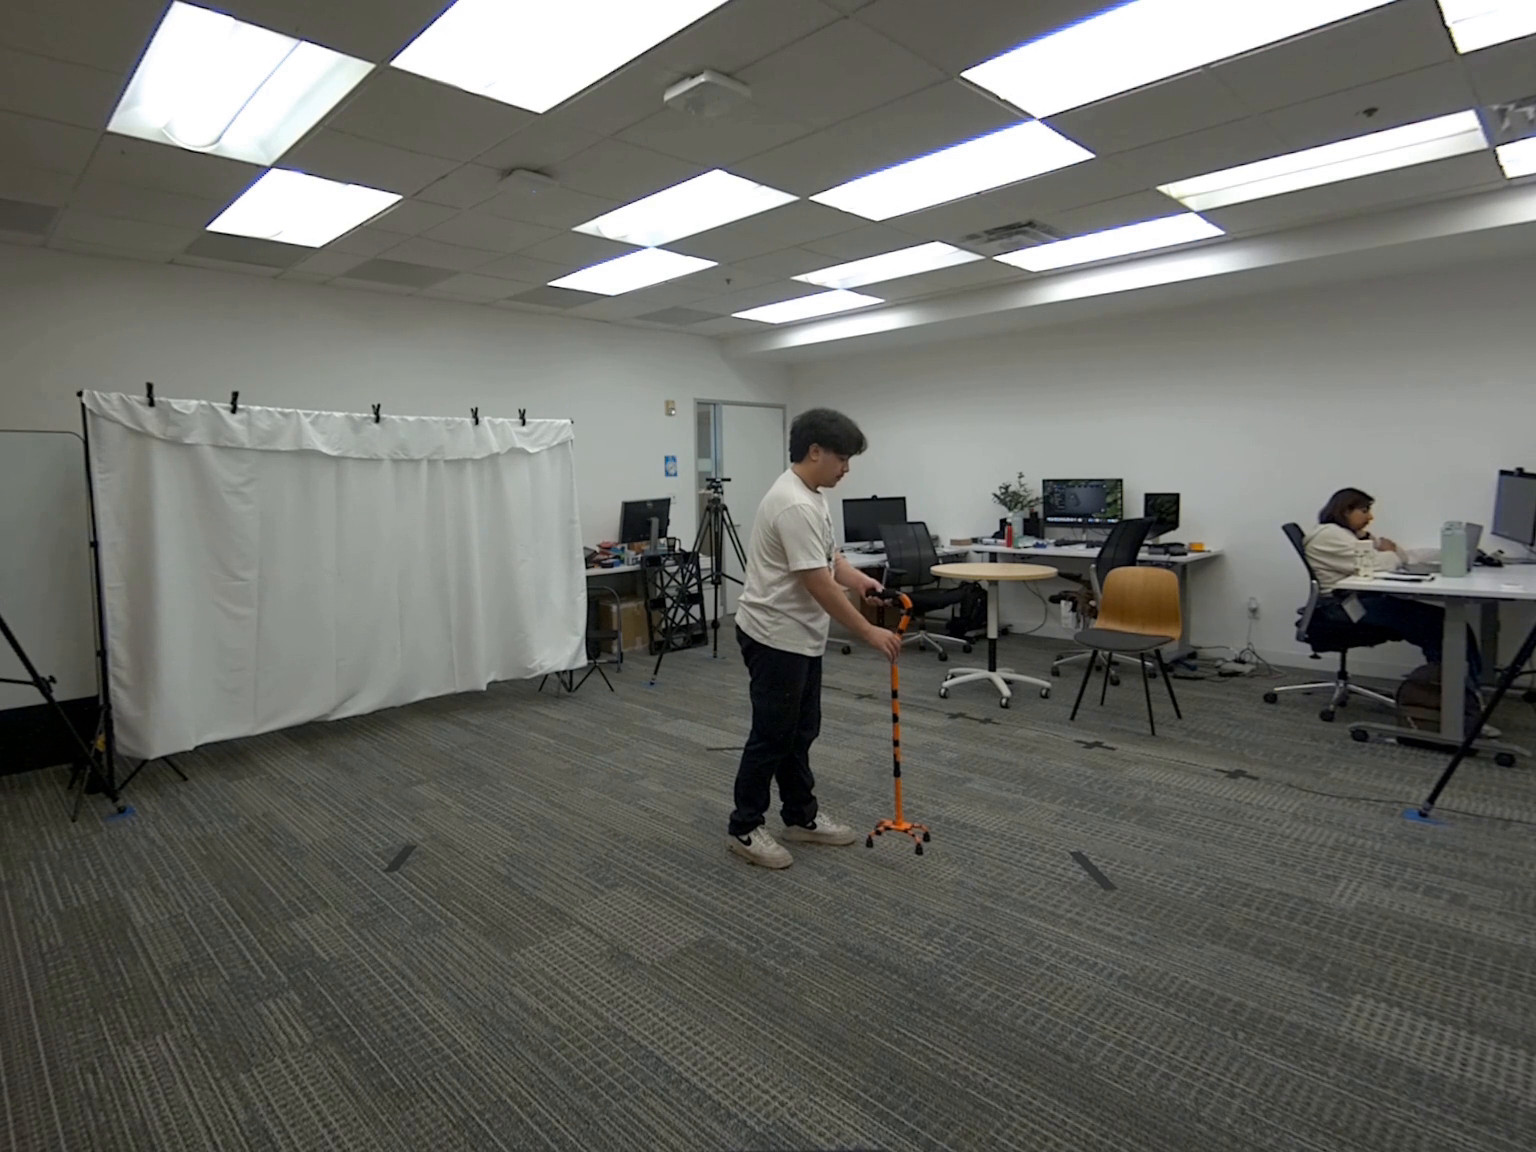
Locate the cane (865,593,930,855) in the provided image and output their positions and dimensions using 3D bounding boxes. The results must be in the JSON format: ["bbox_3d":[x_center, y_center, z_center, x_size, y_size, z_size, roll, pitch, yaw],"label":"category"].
[{"bbox_3d":[0.457,0.515,3.039,0.211,0.906,0.149,-1,2,23],"label":"cane"}]
